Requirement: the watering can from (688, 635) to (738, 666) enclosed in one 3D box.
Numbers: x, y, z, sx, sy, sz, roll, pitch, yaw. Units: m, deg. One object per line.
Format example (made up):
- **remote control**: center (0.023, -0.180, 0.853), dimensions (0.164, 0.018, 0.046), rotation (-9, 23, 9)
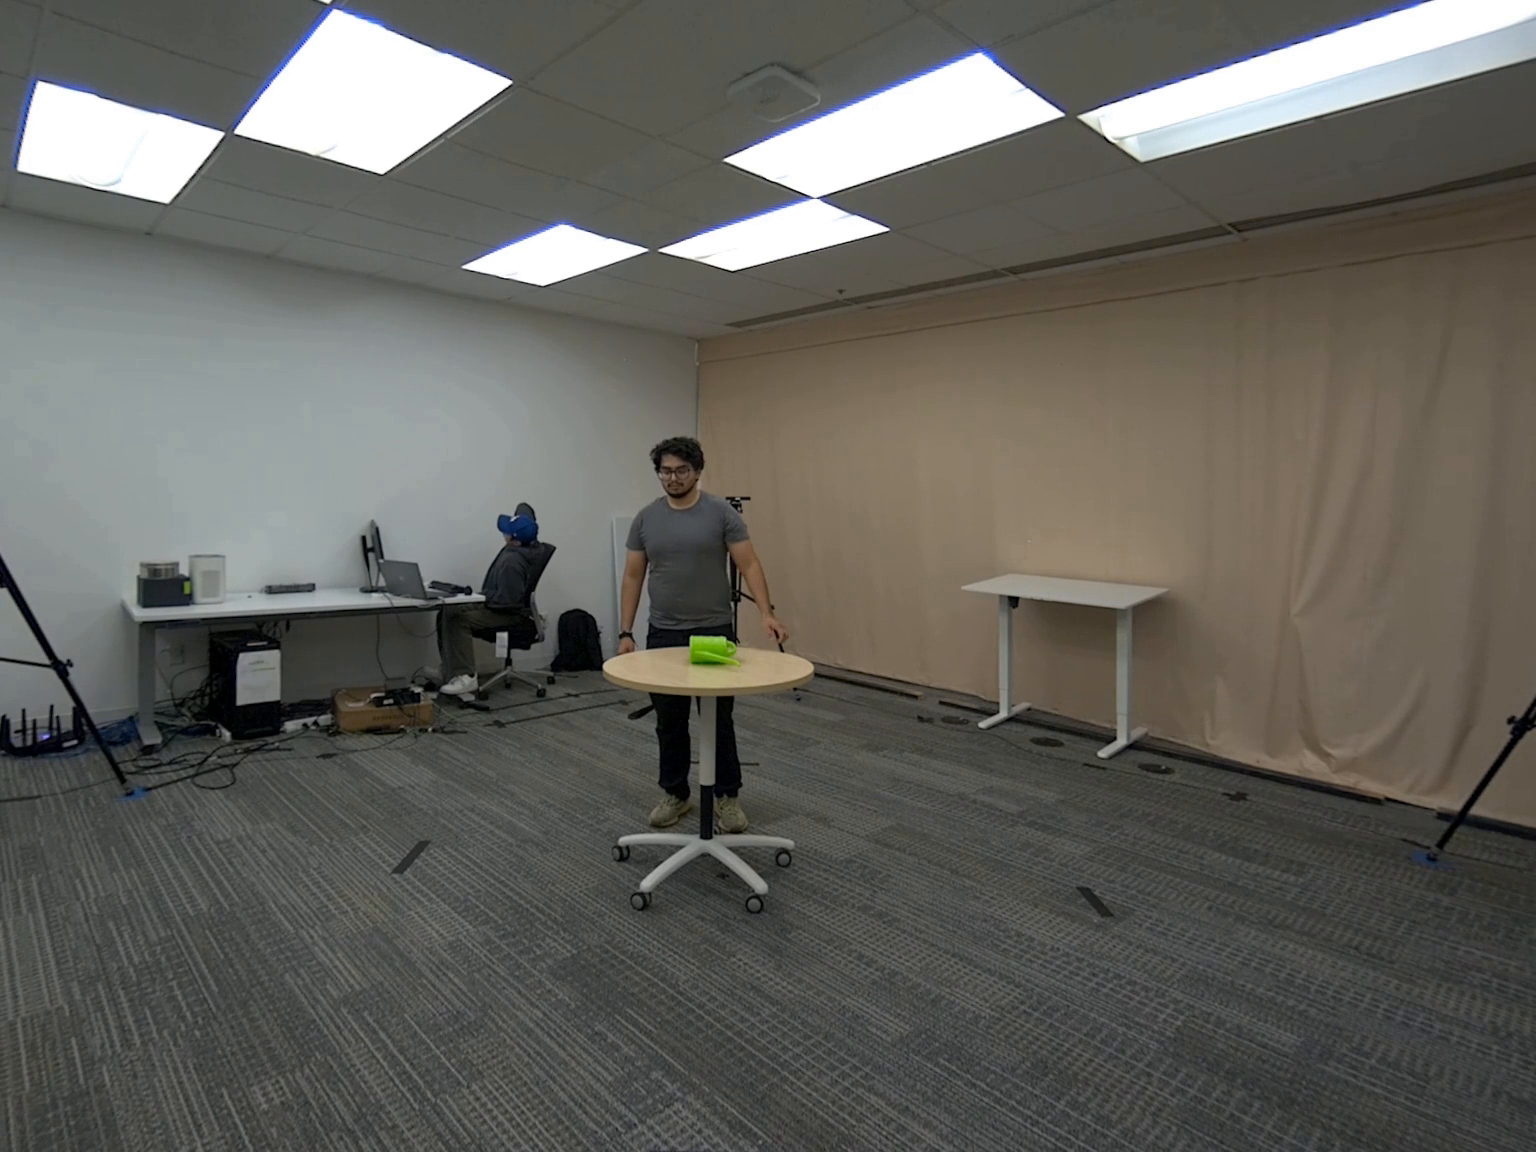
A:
- **watering can**: center (-0.211, 0.273, 3.074), dimensions (0.176, 0.098, 0.279), rotation (0, -1, -6)
